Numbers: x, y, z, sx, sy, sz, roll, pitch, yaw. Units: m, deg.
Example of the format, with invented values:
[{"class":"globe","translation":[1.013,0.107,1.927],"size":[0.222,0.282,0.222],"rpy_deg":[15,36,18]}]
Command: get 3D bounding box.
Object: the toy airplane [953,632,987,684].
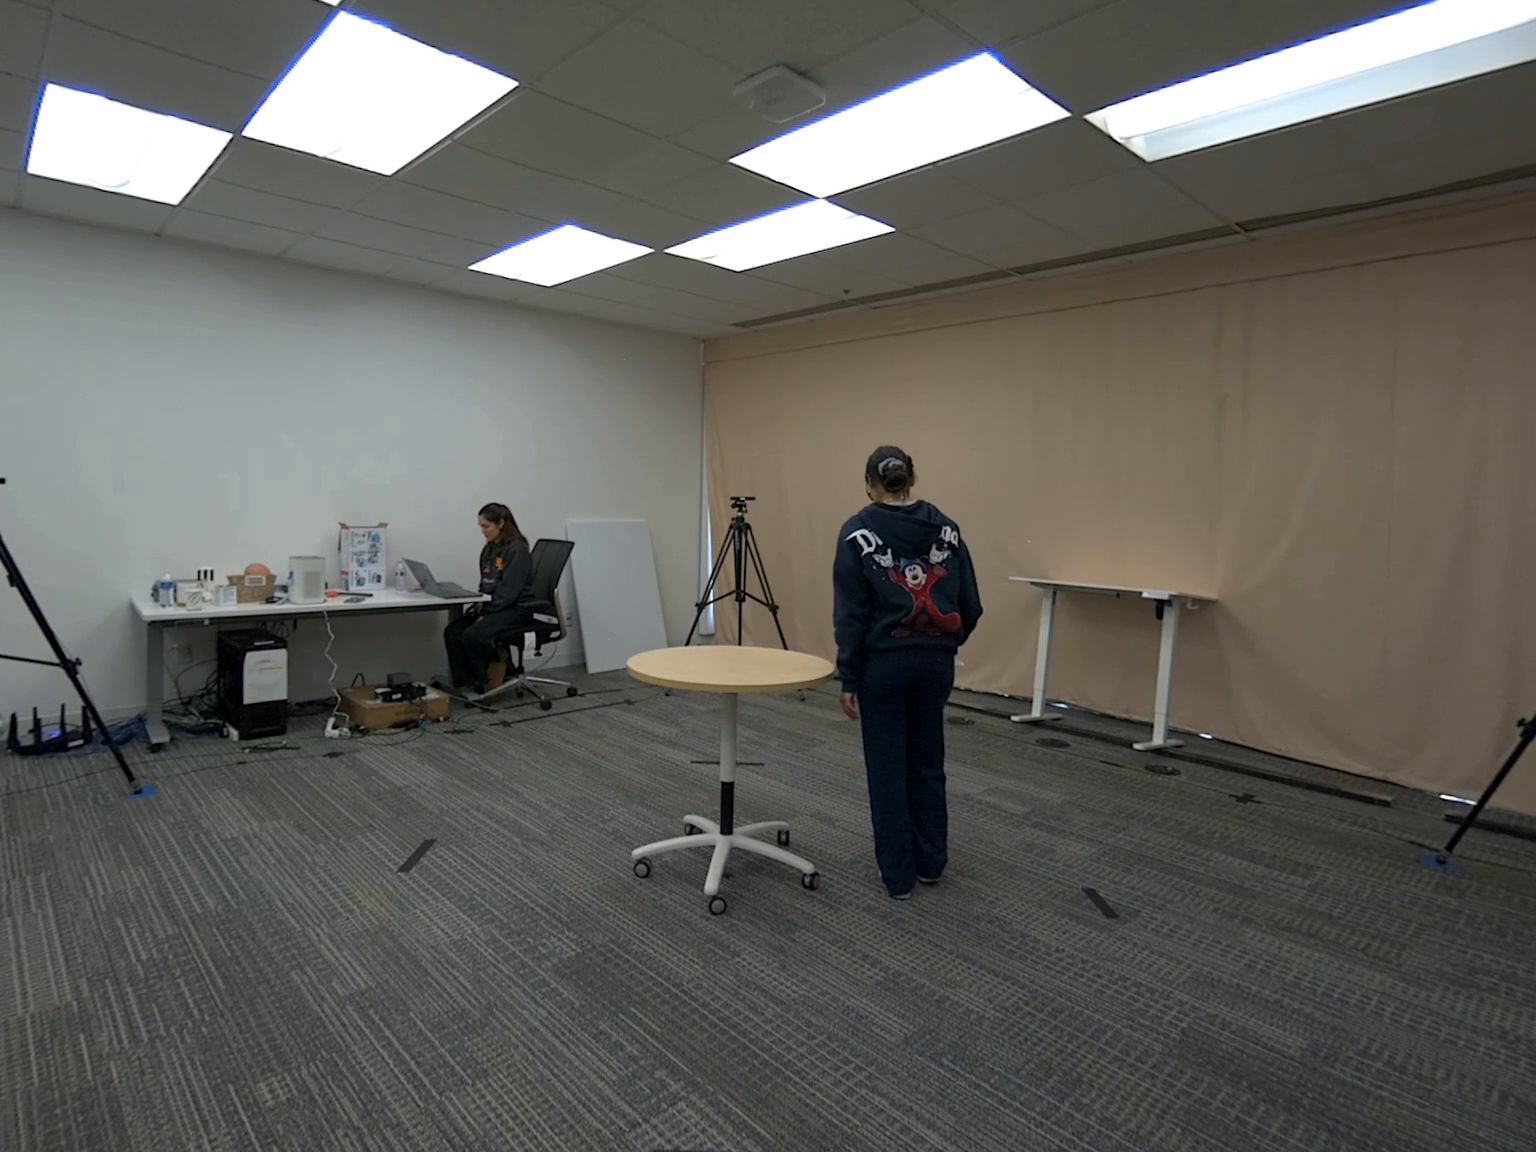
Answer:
[{"class":"toy airplane","translation":[0.659,0.294,3.298],"size":[0.245,0.155,0.267],"rpy_deg":[-5,14,-43]}]
